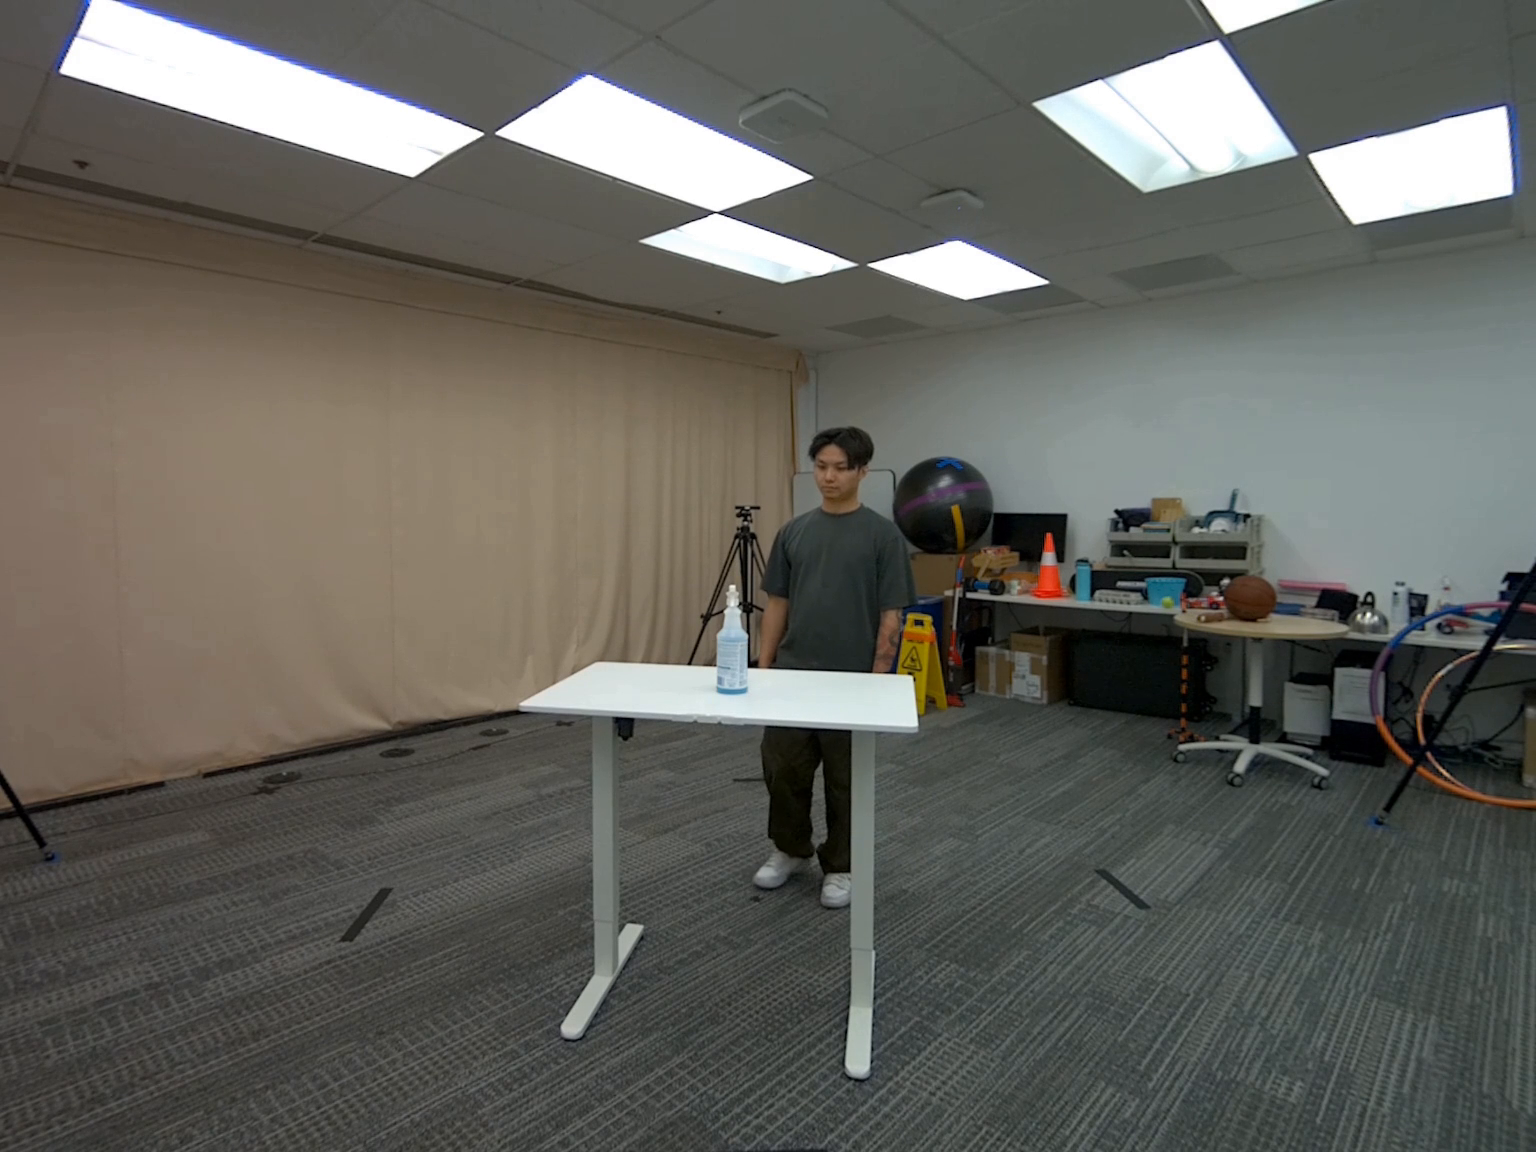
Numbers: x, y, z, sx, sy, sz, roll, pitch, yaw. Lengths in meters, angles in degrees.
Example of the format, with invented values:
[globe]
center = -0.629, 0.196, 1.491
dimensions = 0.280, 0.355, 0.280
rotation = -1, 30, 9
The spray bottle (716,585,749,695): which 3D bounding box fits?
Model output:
[spray bottle]
center = -0.093, 0.173, 2.312
dimensions = 0.089, 0.297, 0.088
rotation = 2, 4, 25
